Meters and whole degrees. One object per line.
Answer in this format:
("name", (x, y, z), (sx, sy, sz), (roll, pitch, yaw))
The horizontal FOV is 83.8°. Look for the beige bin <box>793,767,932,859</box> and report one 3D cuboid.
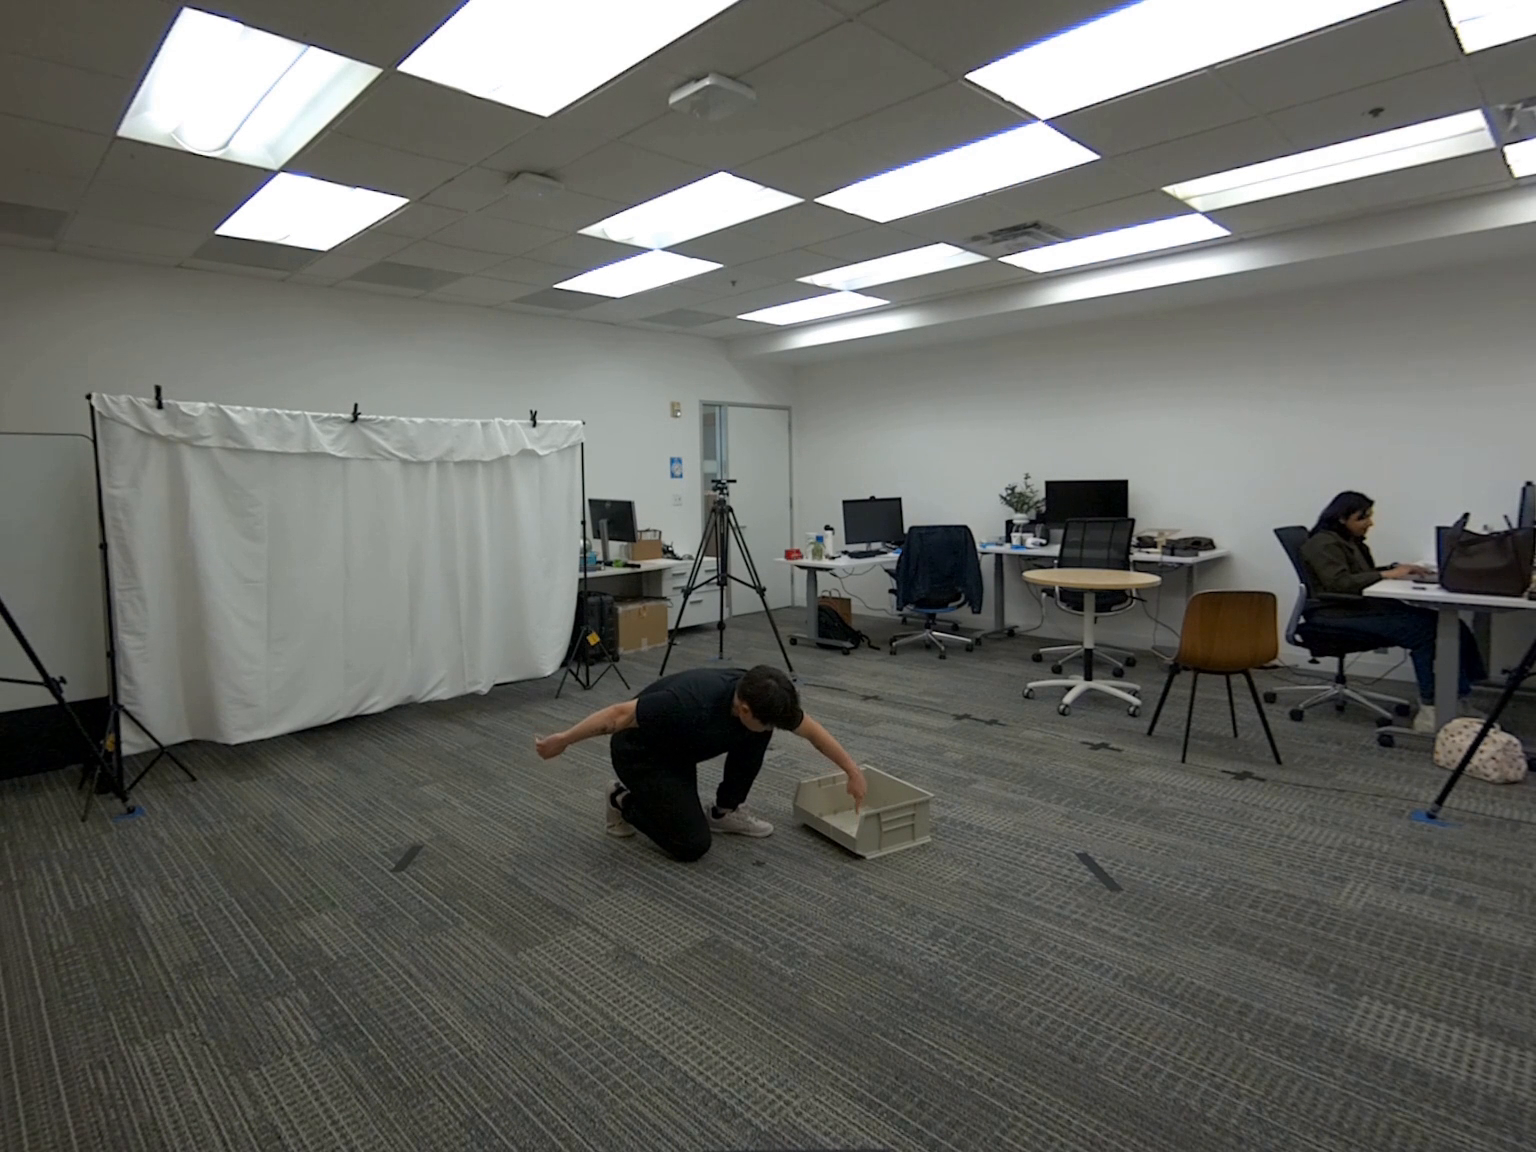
("beige bin", (0.363, 0.915, 3.356), (0.368, 0.188, 0.434), (-3, 5, -31))
